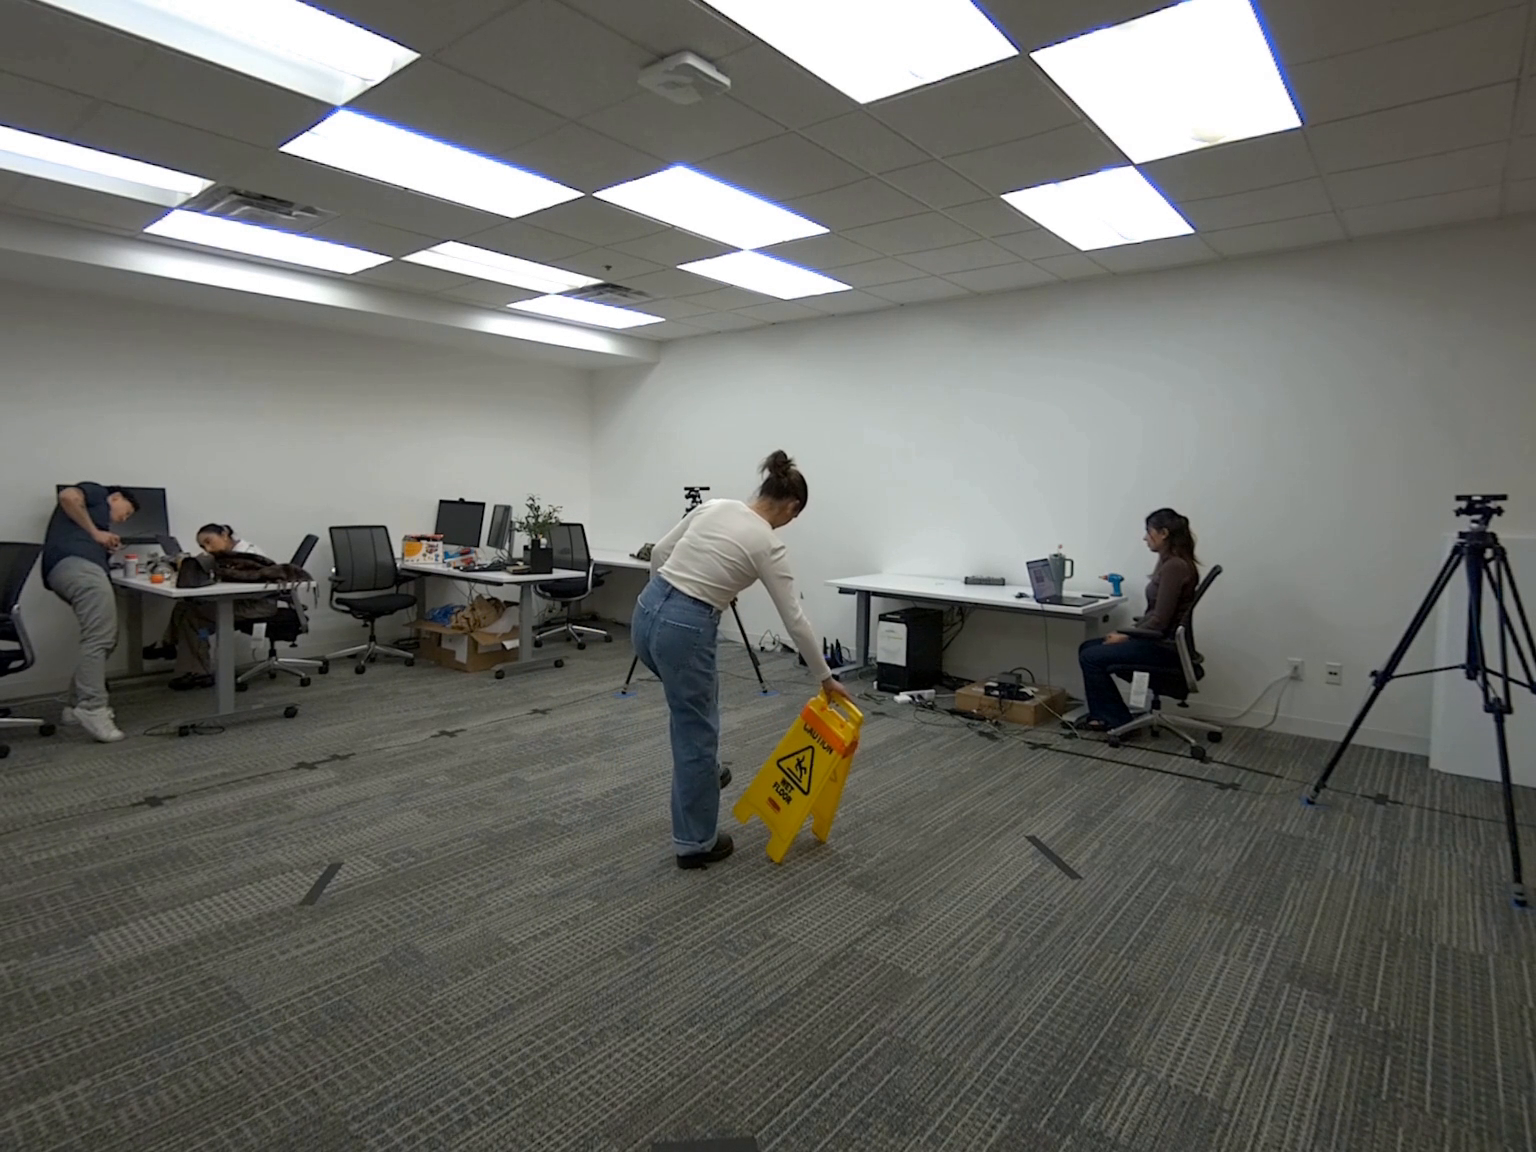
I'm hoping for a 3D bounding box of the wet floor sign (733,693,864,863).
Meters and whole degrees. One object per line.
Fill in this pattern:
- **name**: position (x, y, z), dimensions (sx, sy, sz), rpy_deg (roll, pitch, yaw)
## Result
- **wet floor sign**: position (0.149, 0.718, 3.225), dimensions (0.281, 0.639, 0.294), rpy_deg (-3, 34, -47)
